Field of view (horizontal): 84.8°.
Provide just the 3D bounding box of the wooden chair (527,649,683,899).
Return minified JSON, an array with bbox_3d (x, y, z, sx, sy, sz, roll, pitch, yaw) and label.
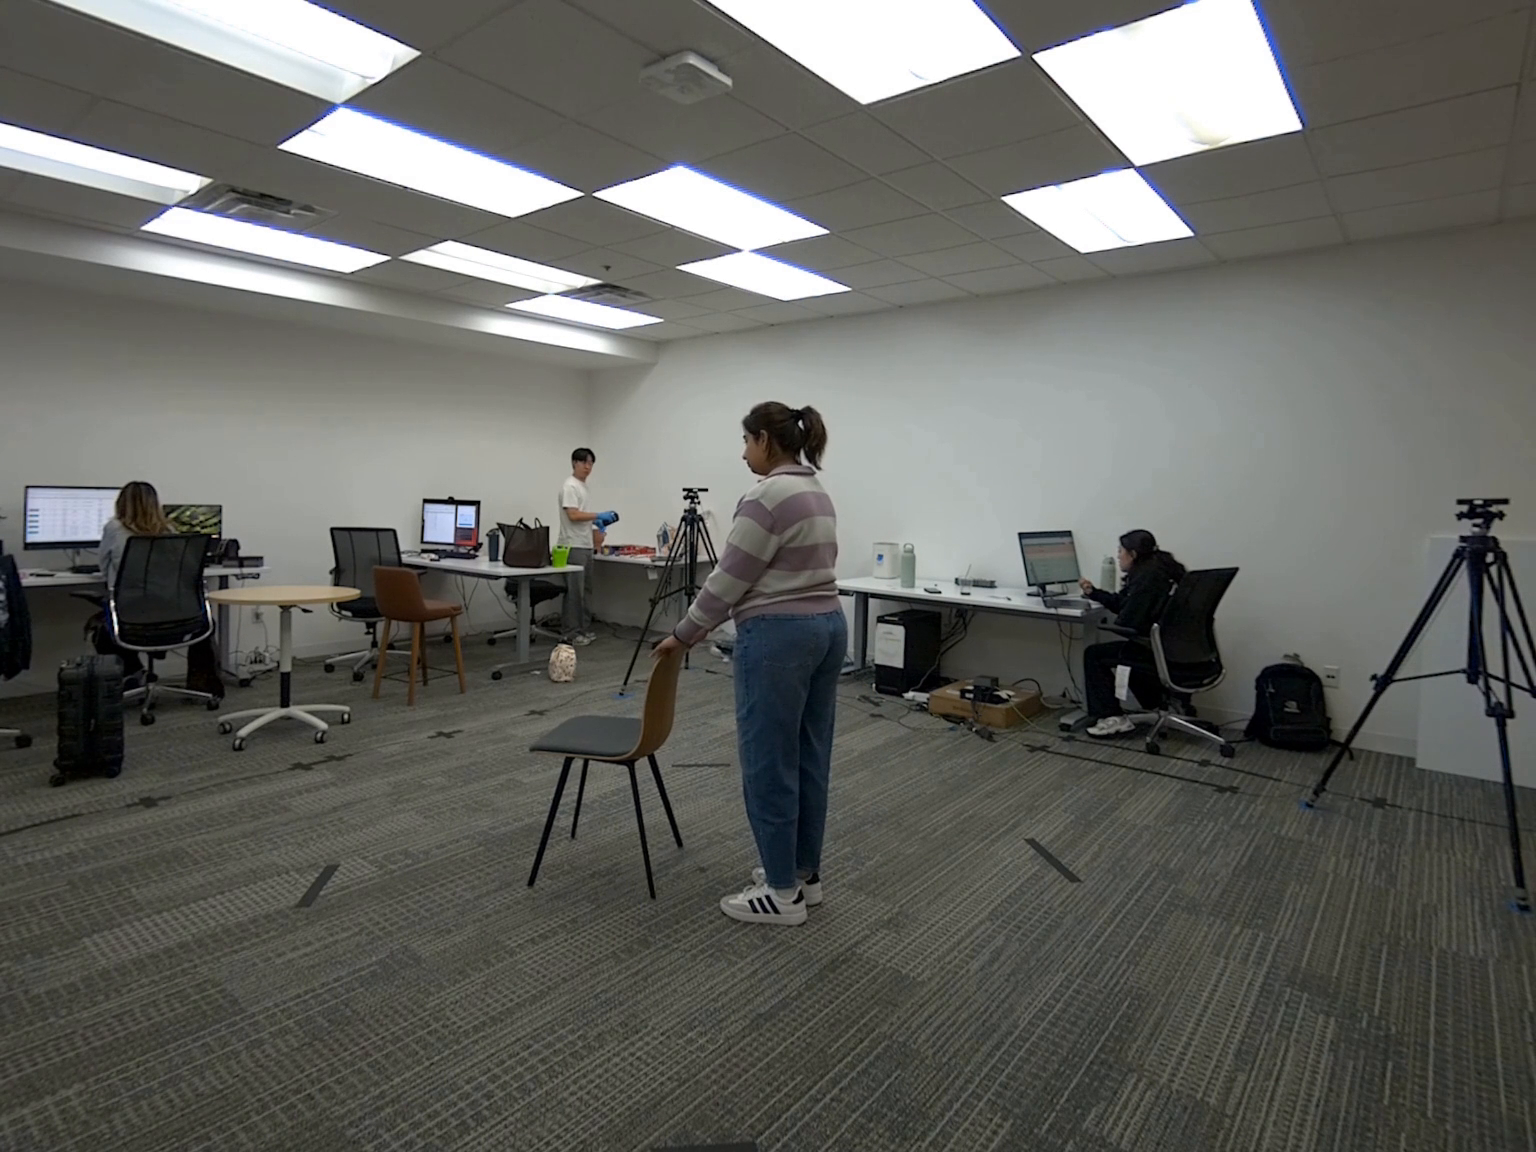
[{"bbox_3d":[-0.581,0.635,3.096,0.528,0.875,0.475,6,4,8],"label":"wooden chair"}]
